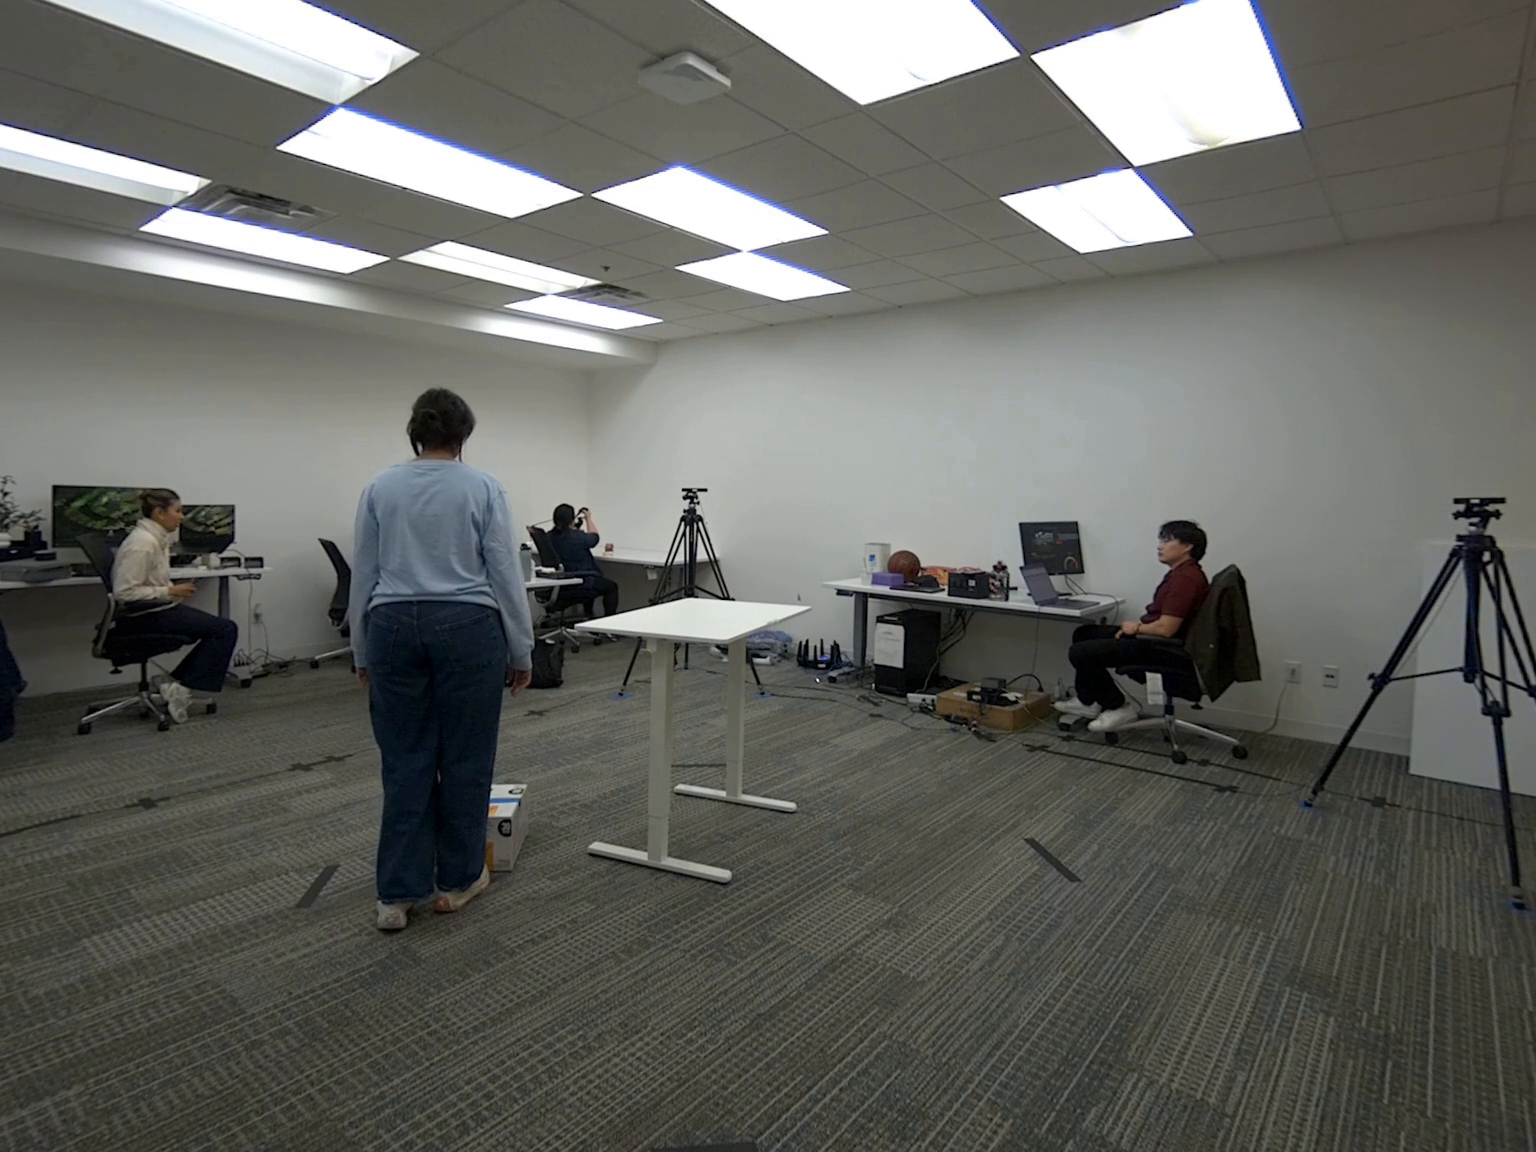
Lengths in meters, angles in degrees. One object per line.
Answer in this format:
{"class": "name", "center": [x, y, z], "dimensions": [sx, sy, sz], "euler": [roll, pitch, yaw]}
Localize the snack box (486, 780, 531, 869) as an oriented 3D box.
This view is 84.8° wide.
{"class": "snack box", "center": [-1.141, 0.939, 3.202], "dimensions": [0.403, 0.205, 0.343], "euler": [0, 5, -5]}
